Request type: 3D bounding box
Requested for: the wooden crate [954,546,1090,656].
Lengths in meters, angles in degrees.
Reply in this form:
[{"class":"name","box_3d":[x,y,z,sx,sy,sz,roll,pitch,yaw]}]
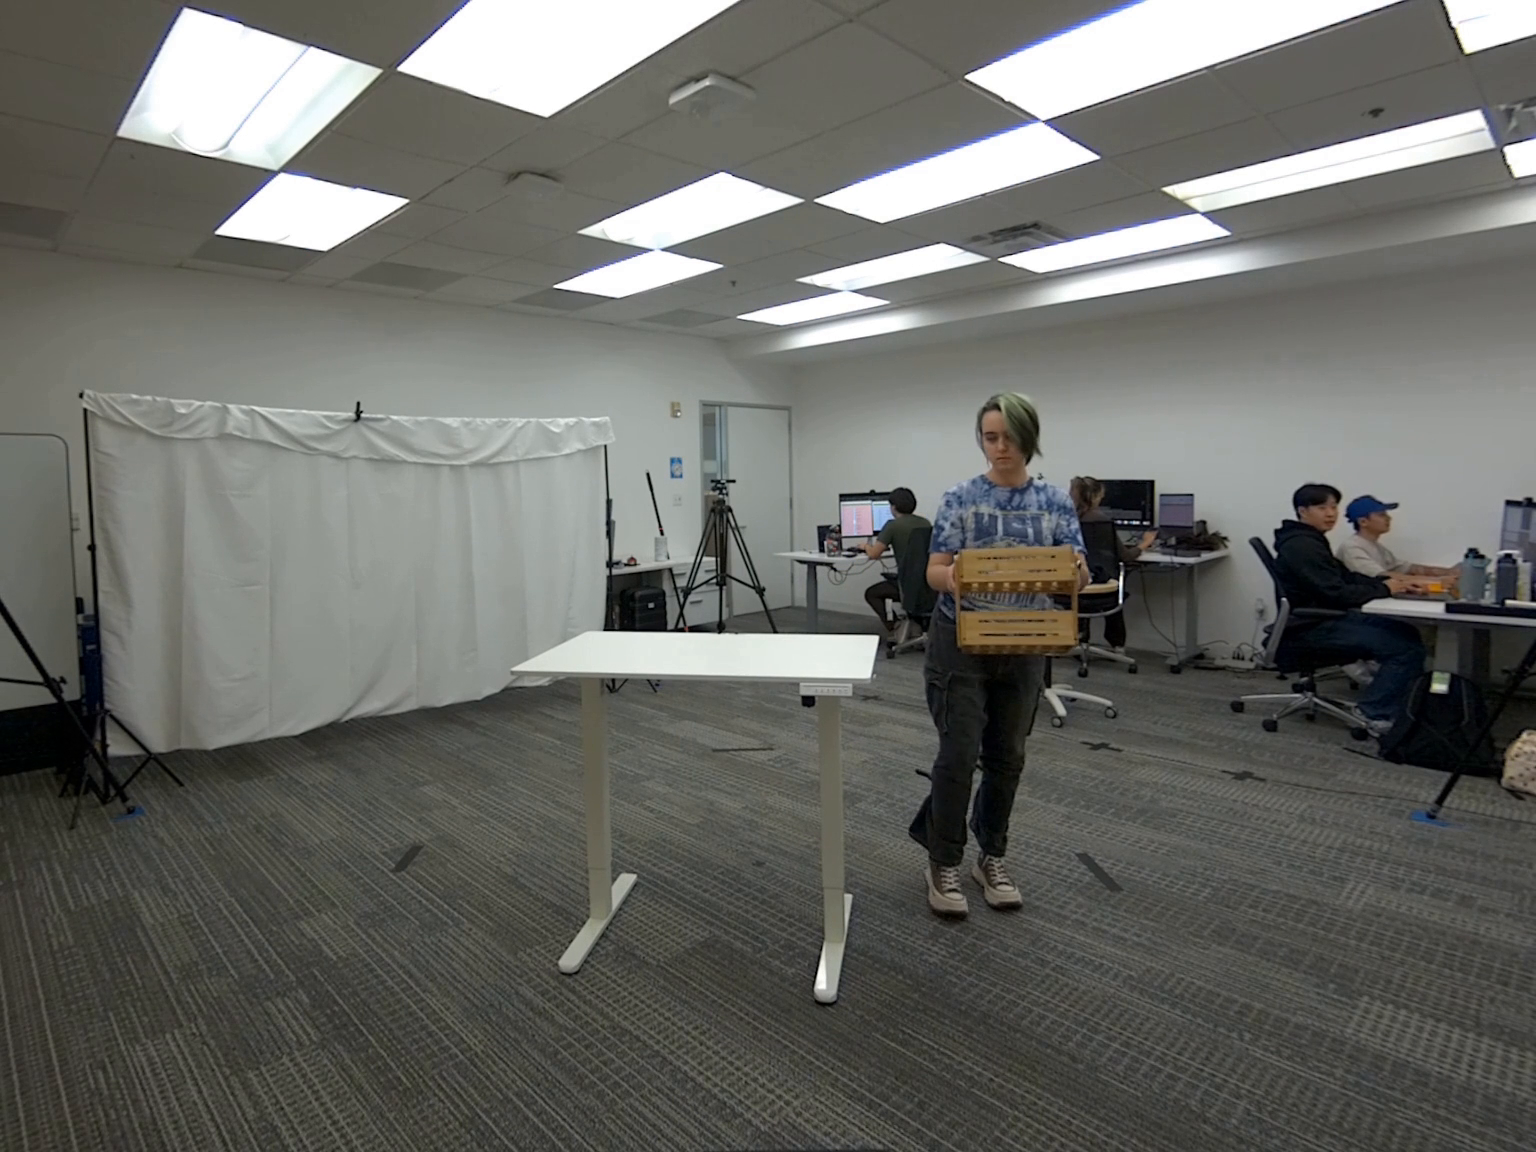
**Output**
[{"class":"wooden crate","box_3d":[0.718,0.077,2.454,0.328,0.276,0.295,-1,-11,12]}]
